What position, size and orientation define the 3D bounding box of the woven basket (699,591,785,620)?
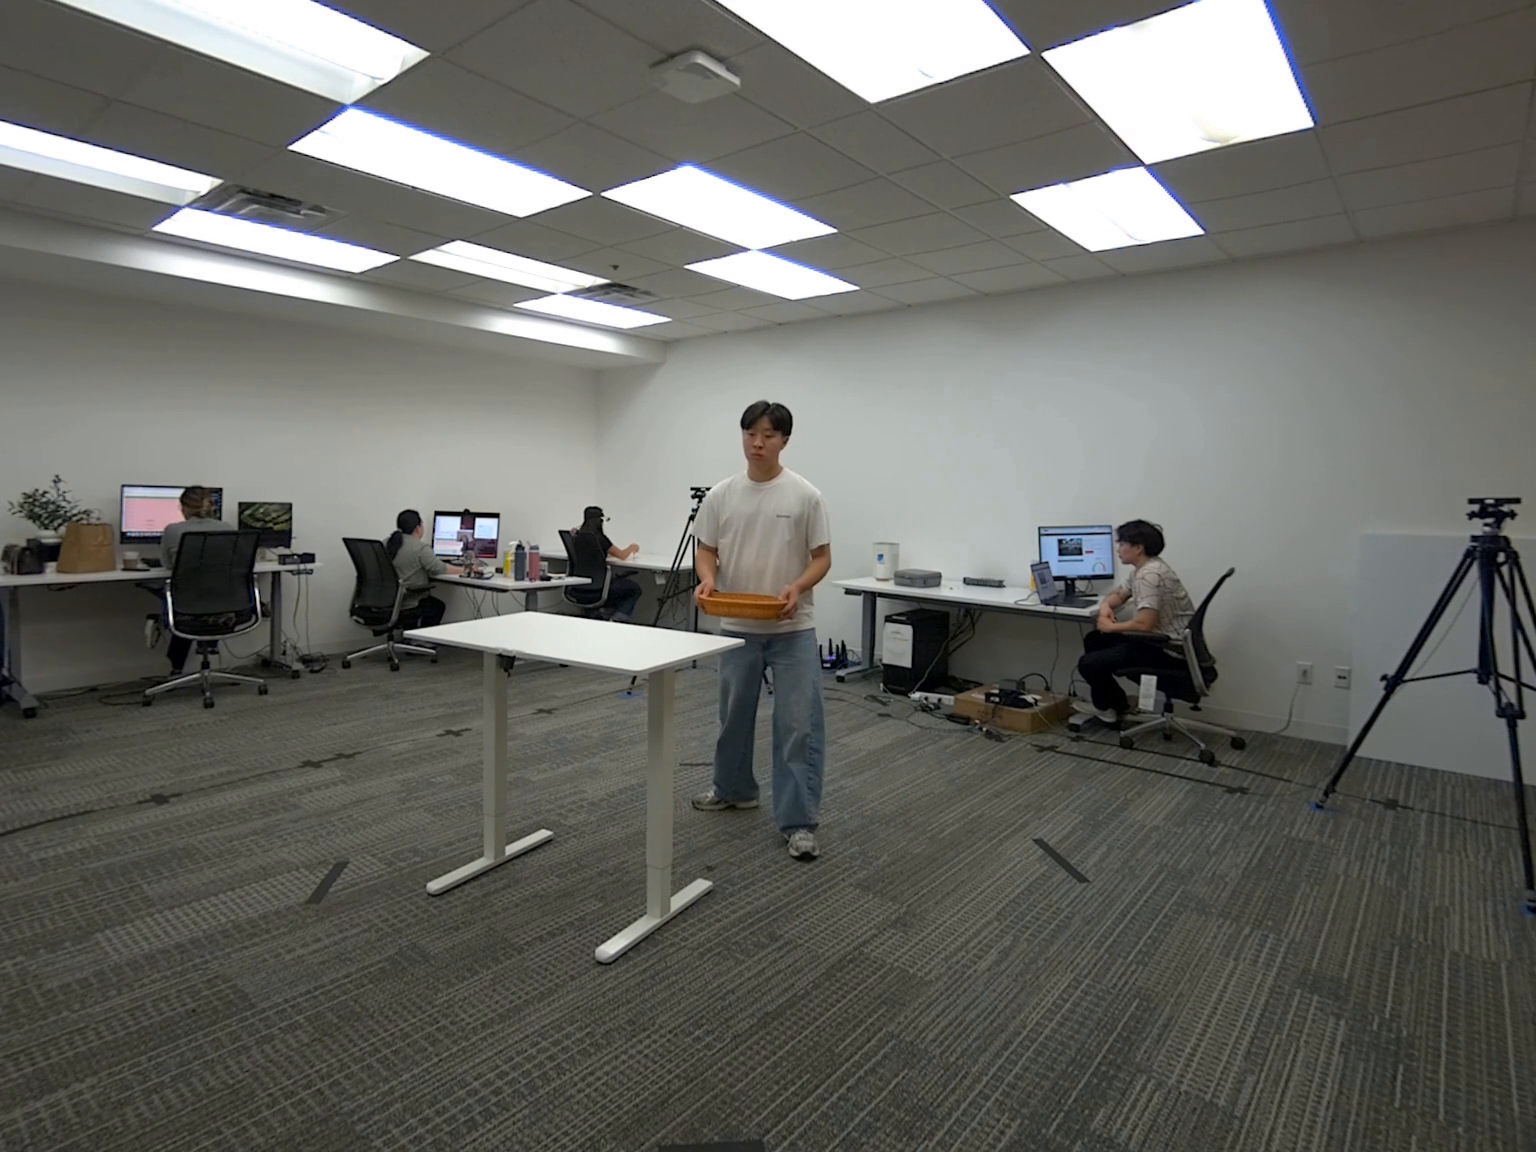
[{"bbox_3d":[-0.105,0.103,3.236,0.360,0.073,0.247,6,9,27],"label":"woven basket"}]
